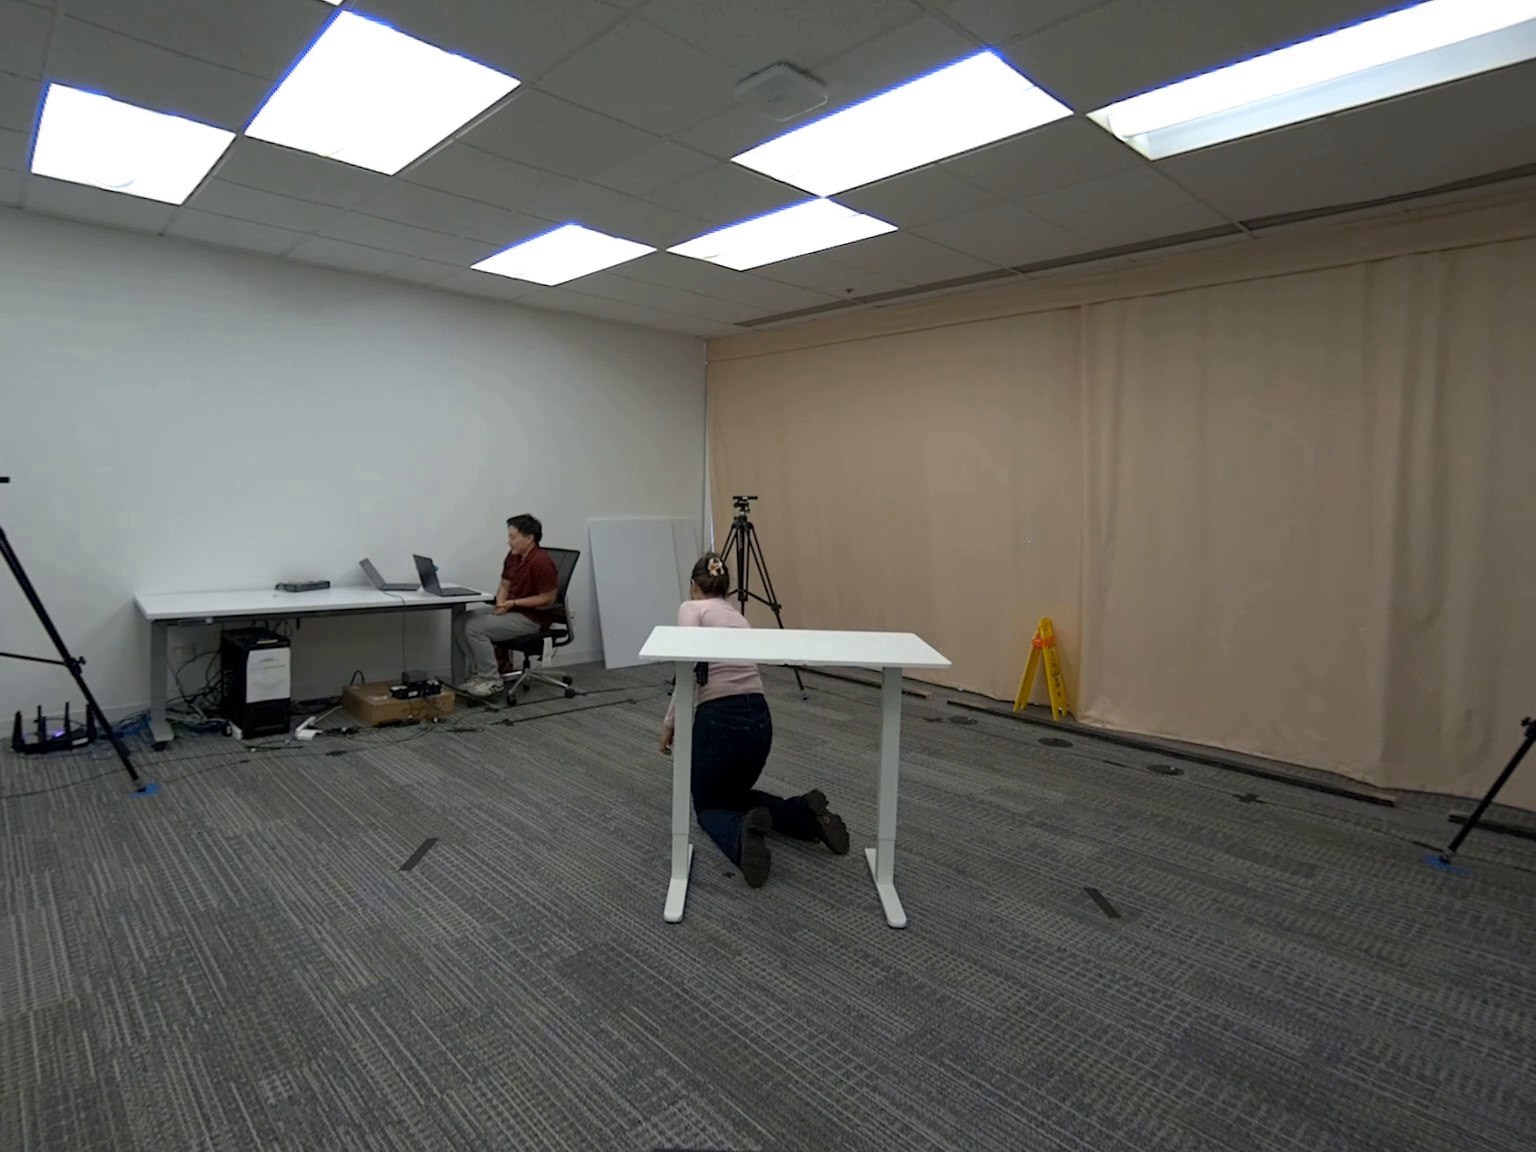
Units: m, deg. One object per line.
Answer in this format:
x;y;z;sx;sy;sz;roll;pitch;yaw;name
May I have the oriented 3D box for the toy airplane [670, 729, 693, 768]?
-0.300;0.846;4.097;0.263;0.157;0.246;8;-8;15;toy airplane
